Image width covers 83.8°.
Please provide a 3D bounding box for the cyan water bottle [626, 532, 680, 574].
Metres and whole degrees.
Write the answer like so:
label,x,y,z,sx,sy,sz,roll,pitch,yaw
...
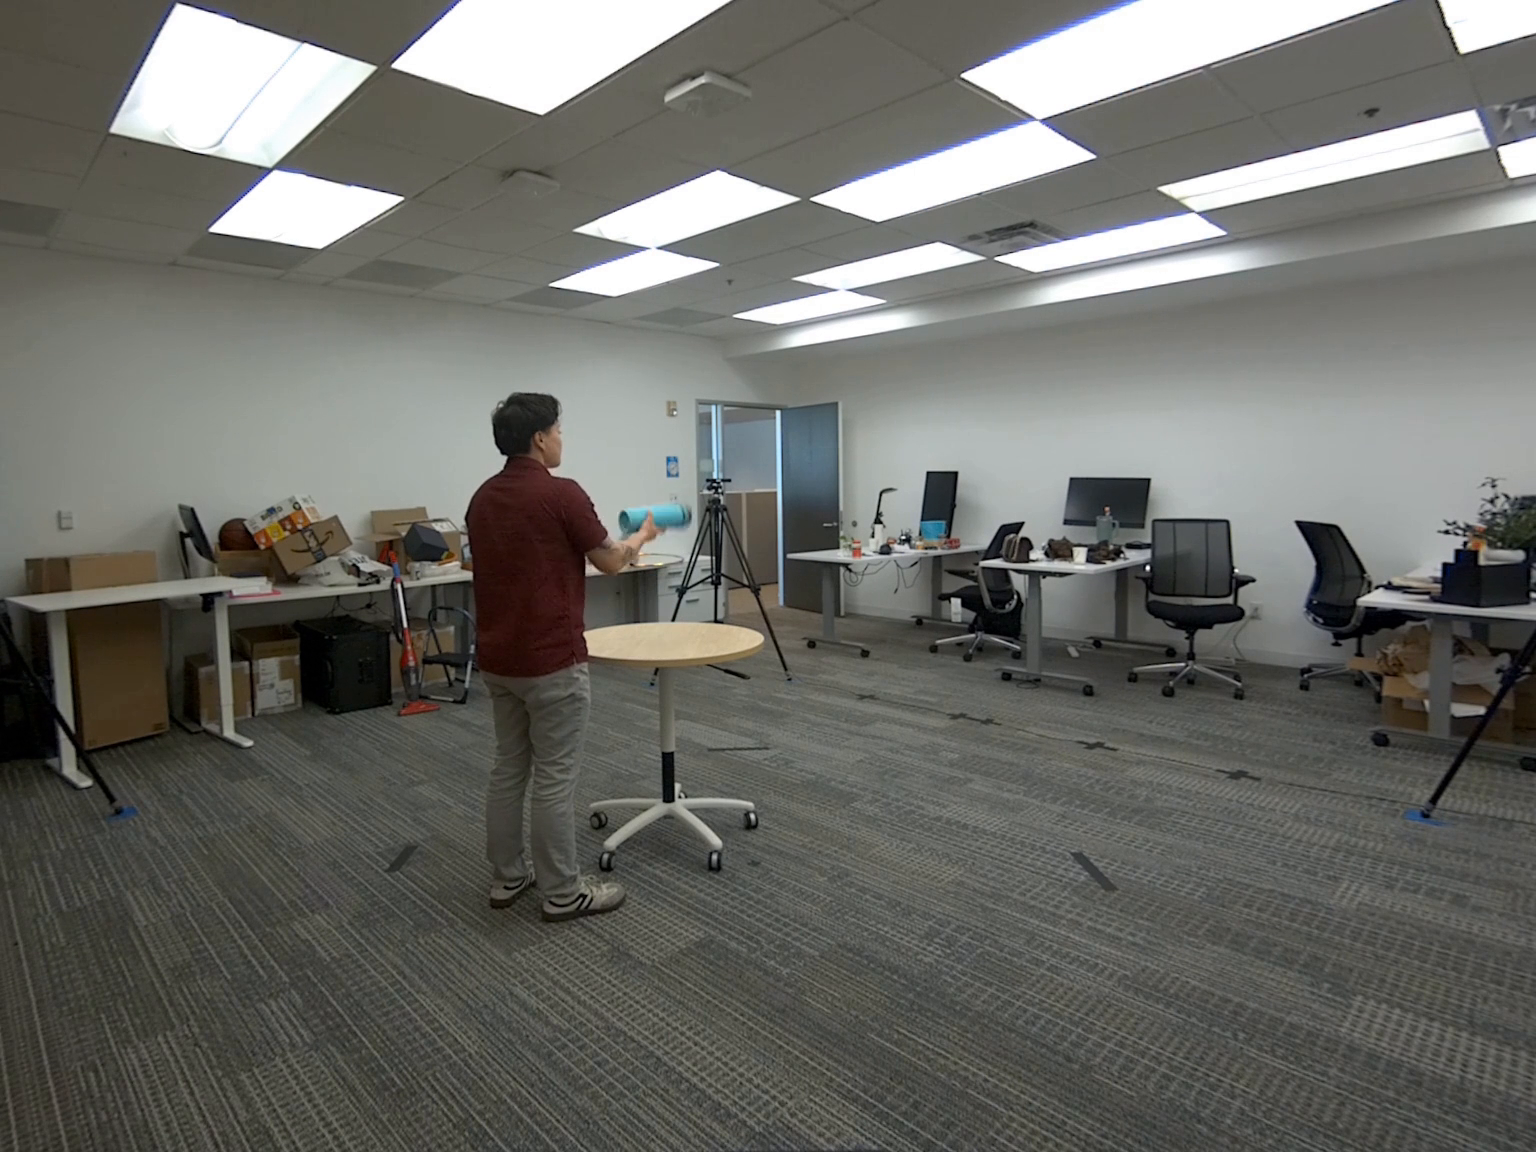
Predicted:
label,x,y,z,sx,sy,sz,roll,pitch,yaw
cyan water bottle,-0.431,-0.084,3.150,0.090,0.093,0.287,-3,-8,-30
